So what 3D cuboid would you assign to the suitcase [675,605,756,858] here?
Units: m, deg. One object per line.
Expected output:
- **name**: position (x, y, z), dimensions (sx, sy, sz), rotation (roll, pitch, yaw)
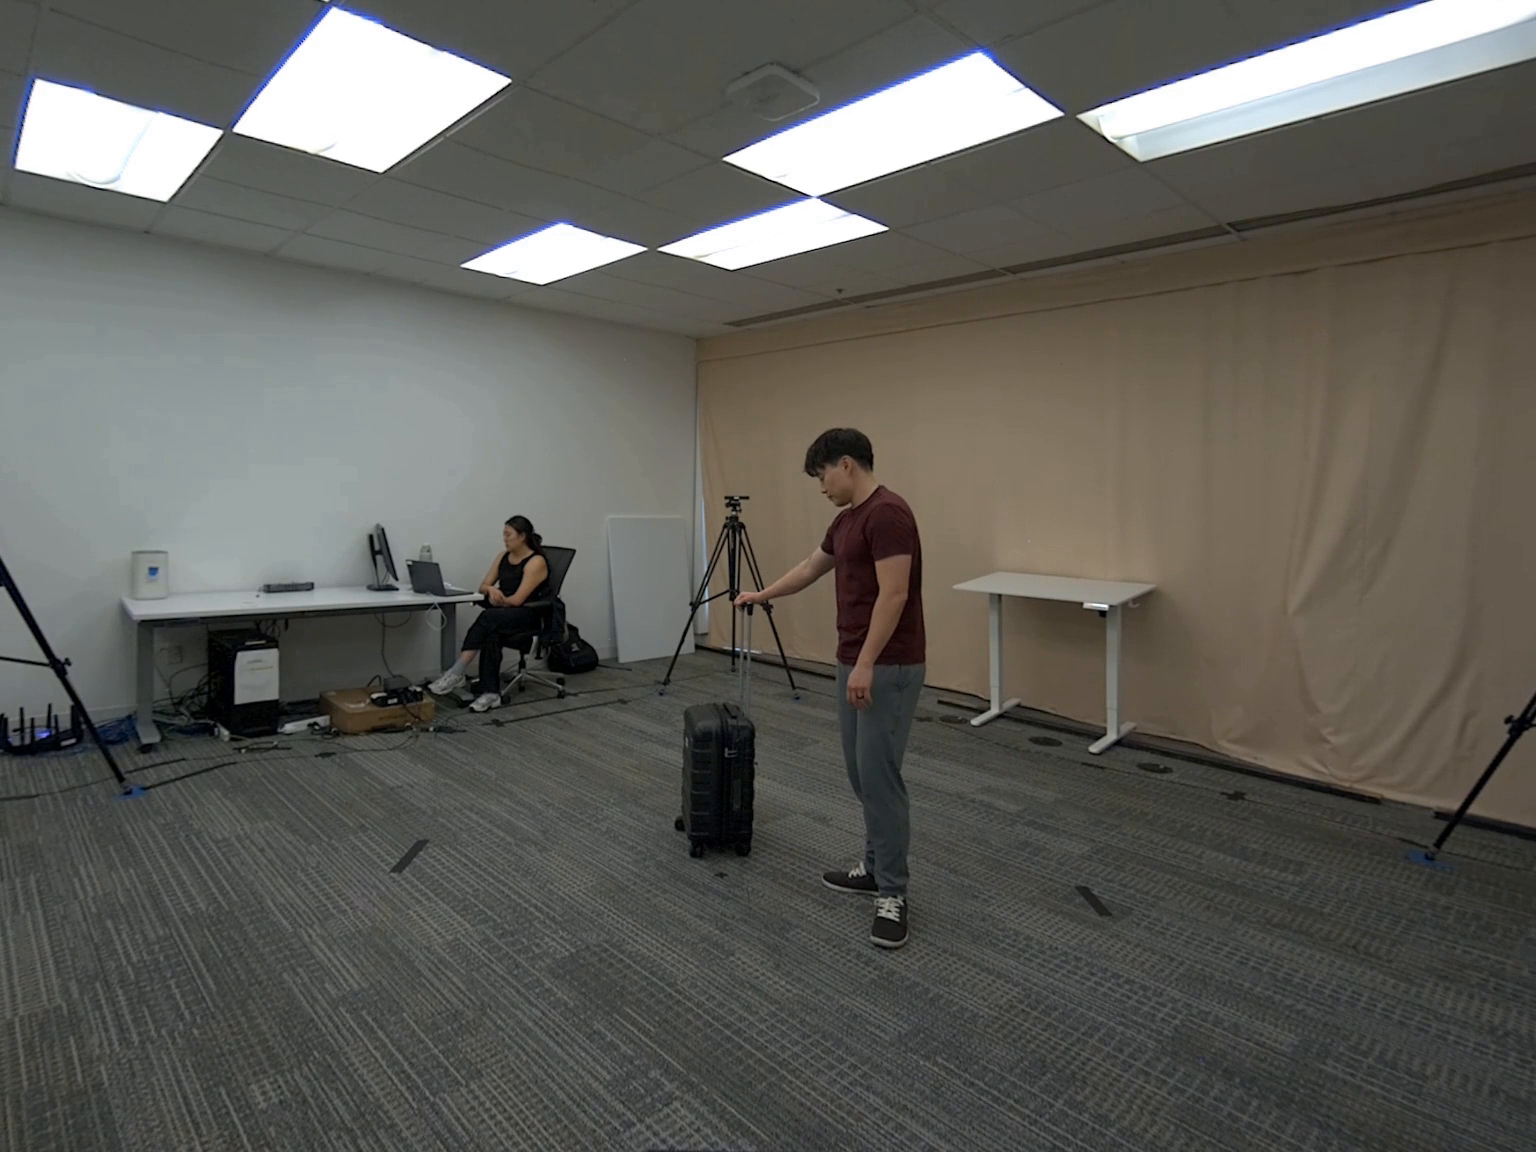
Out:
- **suitcase**: position (-0.209, 0.598, 3.376), dimensions (0.255, 0.977, 0.388), rotation (-2, 3, -11)
